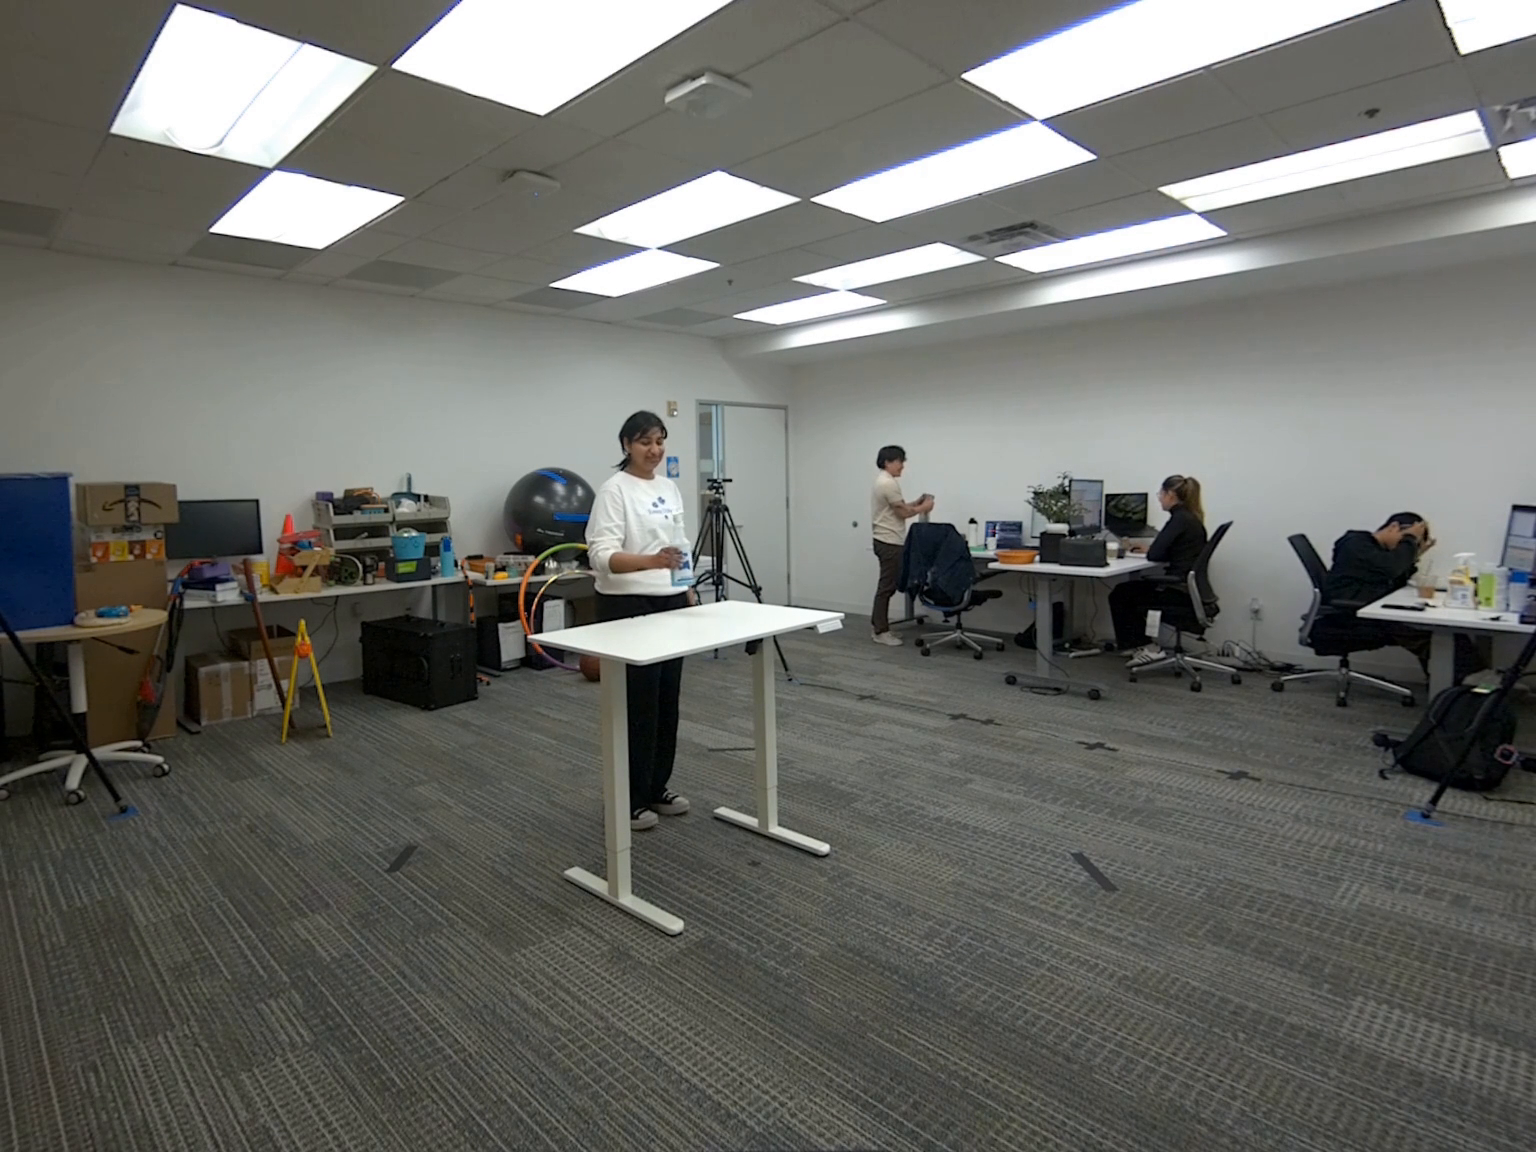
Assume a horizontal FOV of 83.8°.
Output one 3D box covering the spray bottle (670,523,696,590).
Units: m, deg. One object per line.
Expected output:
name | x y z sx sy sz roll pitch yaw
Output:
spray bottle | -0.327 -0.107 3.200 0.089 0.298 0.087 -5 -1 41
